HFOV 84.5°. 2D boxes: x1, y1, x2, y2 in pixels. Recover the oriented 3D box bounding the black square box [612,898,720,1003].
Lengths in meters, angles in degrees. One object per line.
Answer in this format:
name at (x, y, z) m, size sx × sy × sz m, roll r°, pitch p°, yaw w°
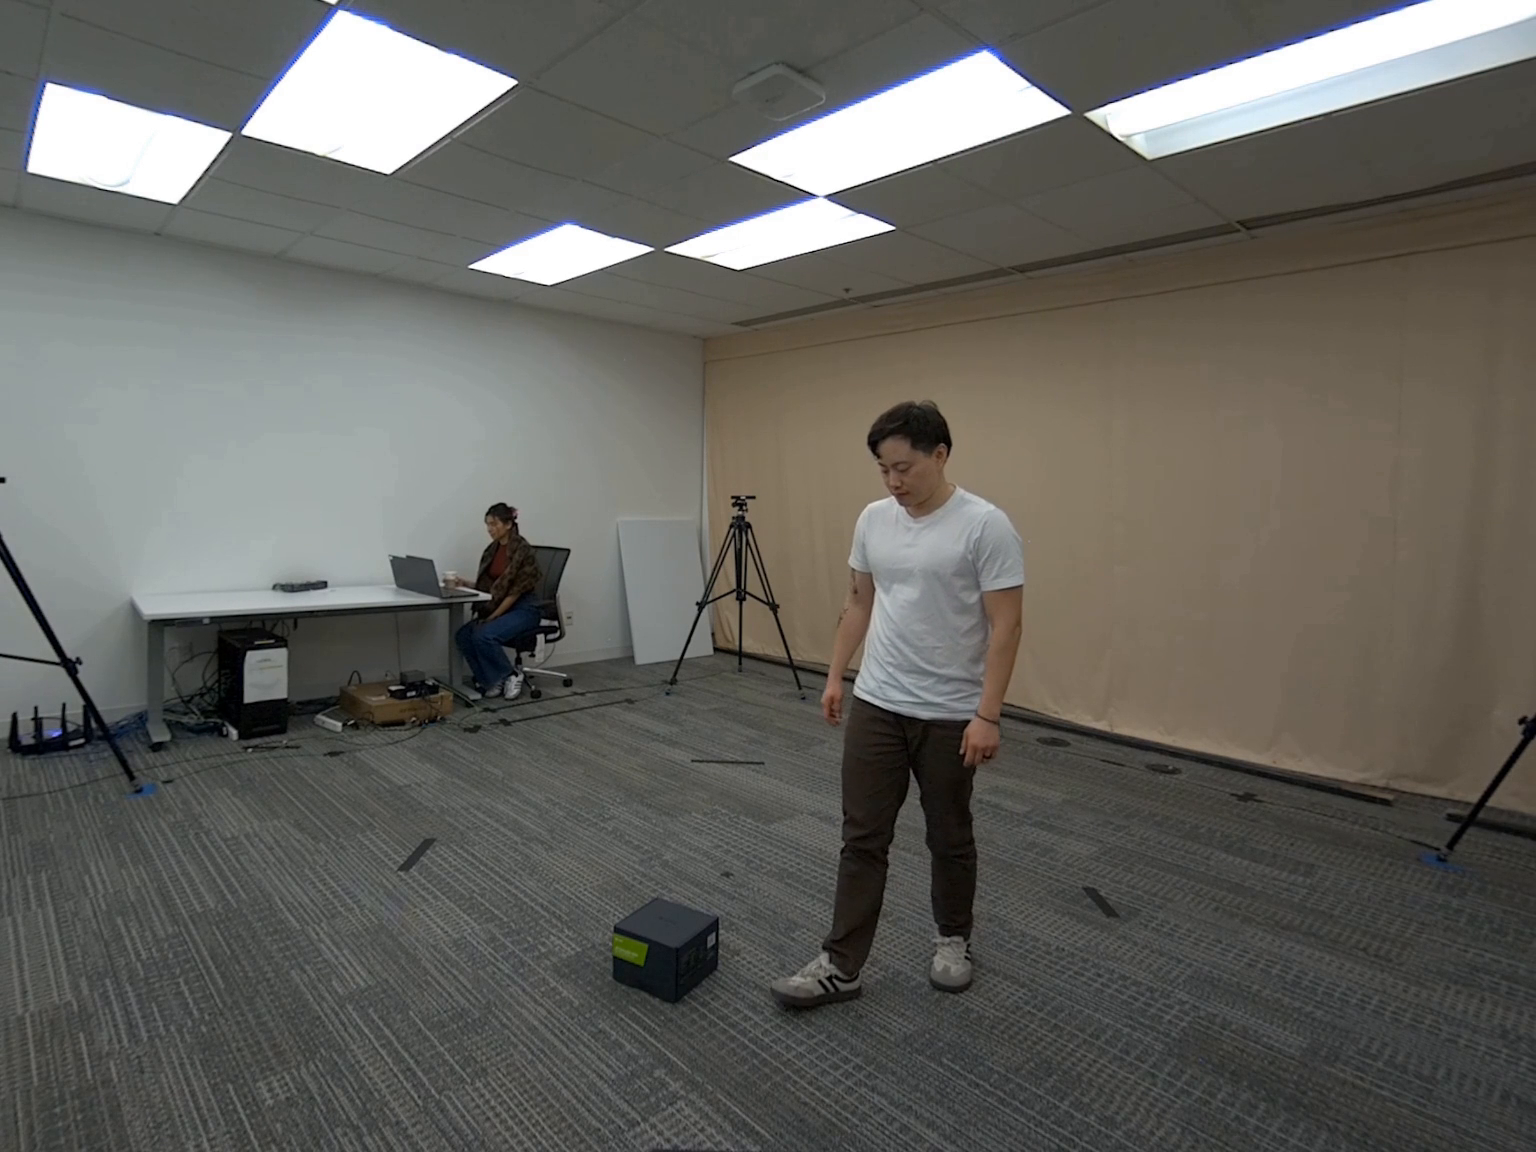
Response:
black square box at (-0.302, 1.076, 2.445) m, size 0.233 × 0.155 × 0.213 m, roll 3°, pitch 5°, yaw 29°
